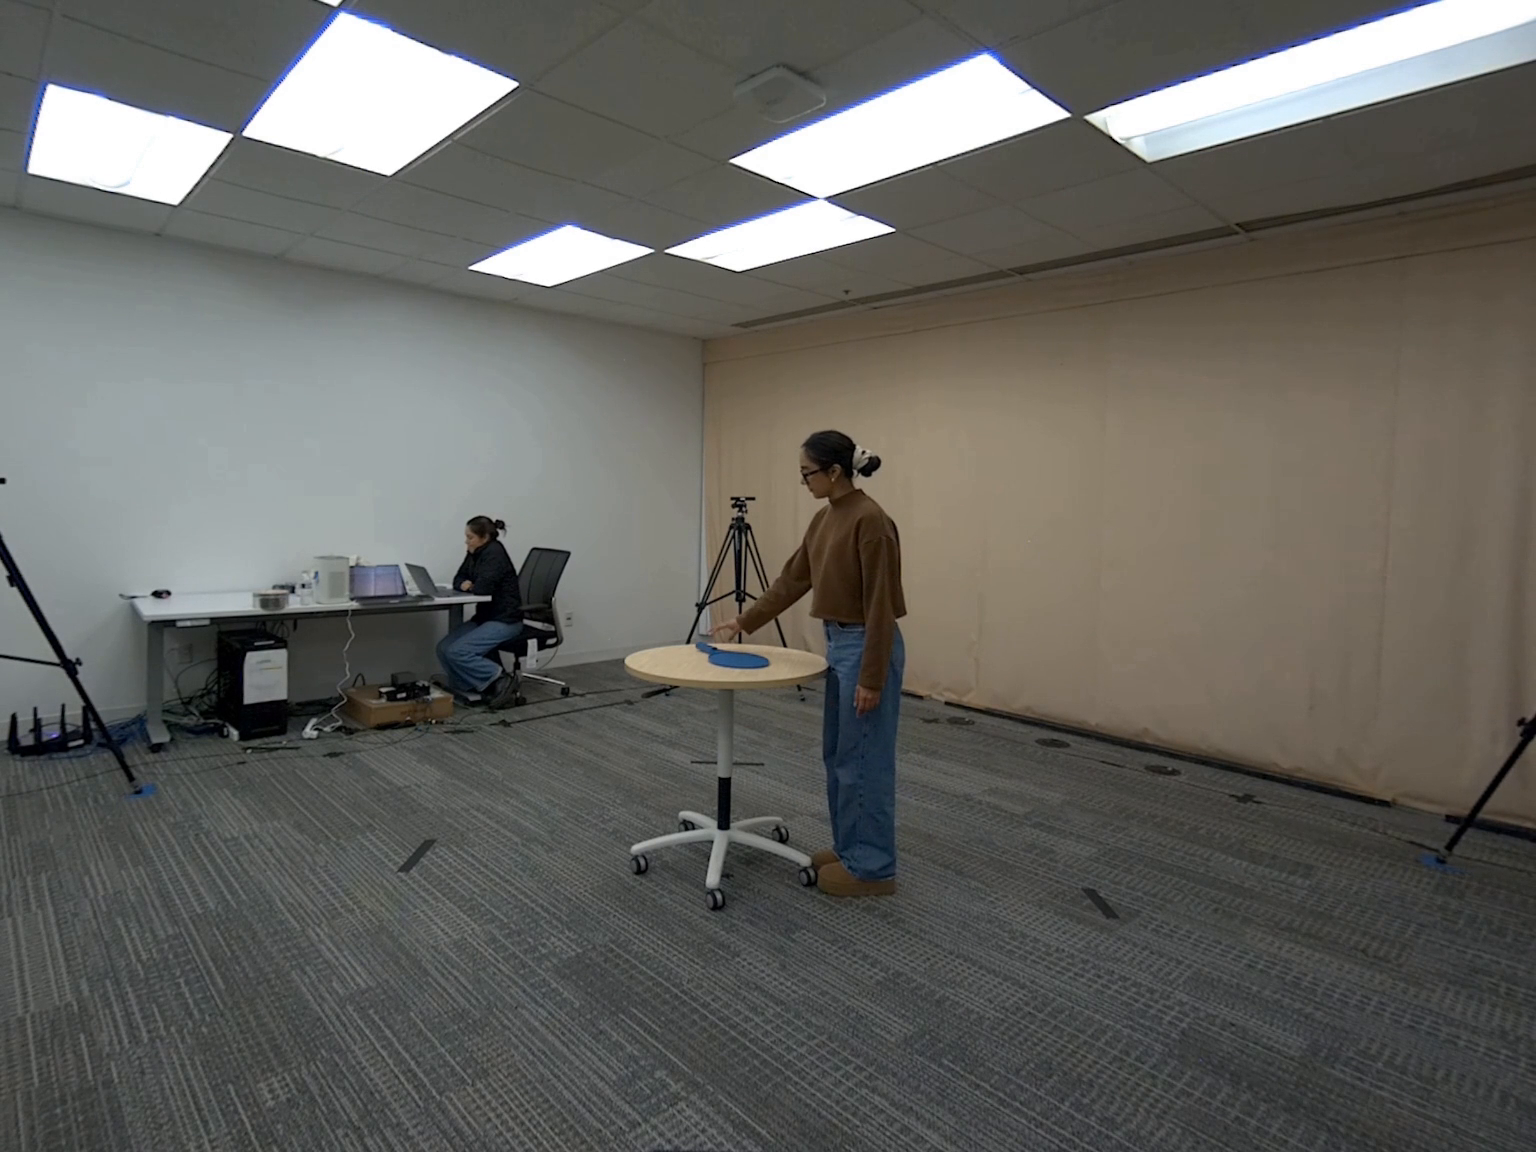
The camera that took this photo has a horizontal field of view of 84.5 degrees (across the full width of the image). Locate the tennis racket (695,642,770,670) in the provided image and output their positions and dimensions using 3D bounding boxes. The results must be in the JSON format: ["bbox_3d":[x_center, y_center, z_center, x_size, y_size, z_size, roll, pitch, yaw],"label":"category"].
[{"bbox_3d":[-0.155,0.307,3.203,0.209,0.031,0.443,-2,7,-32],"label":"tennis racket"}]
